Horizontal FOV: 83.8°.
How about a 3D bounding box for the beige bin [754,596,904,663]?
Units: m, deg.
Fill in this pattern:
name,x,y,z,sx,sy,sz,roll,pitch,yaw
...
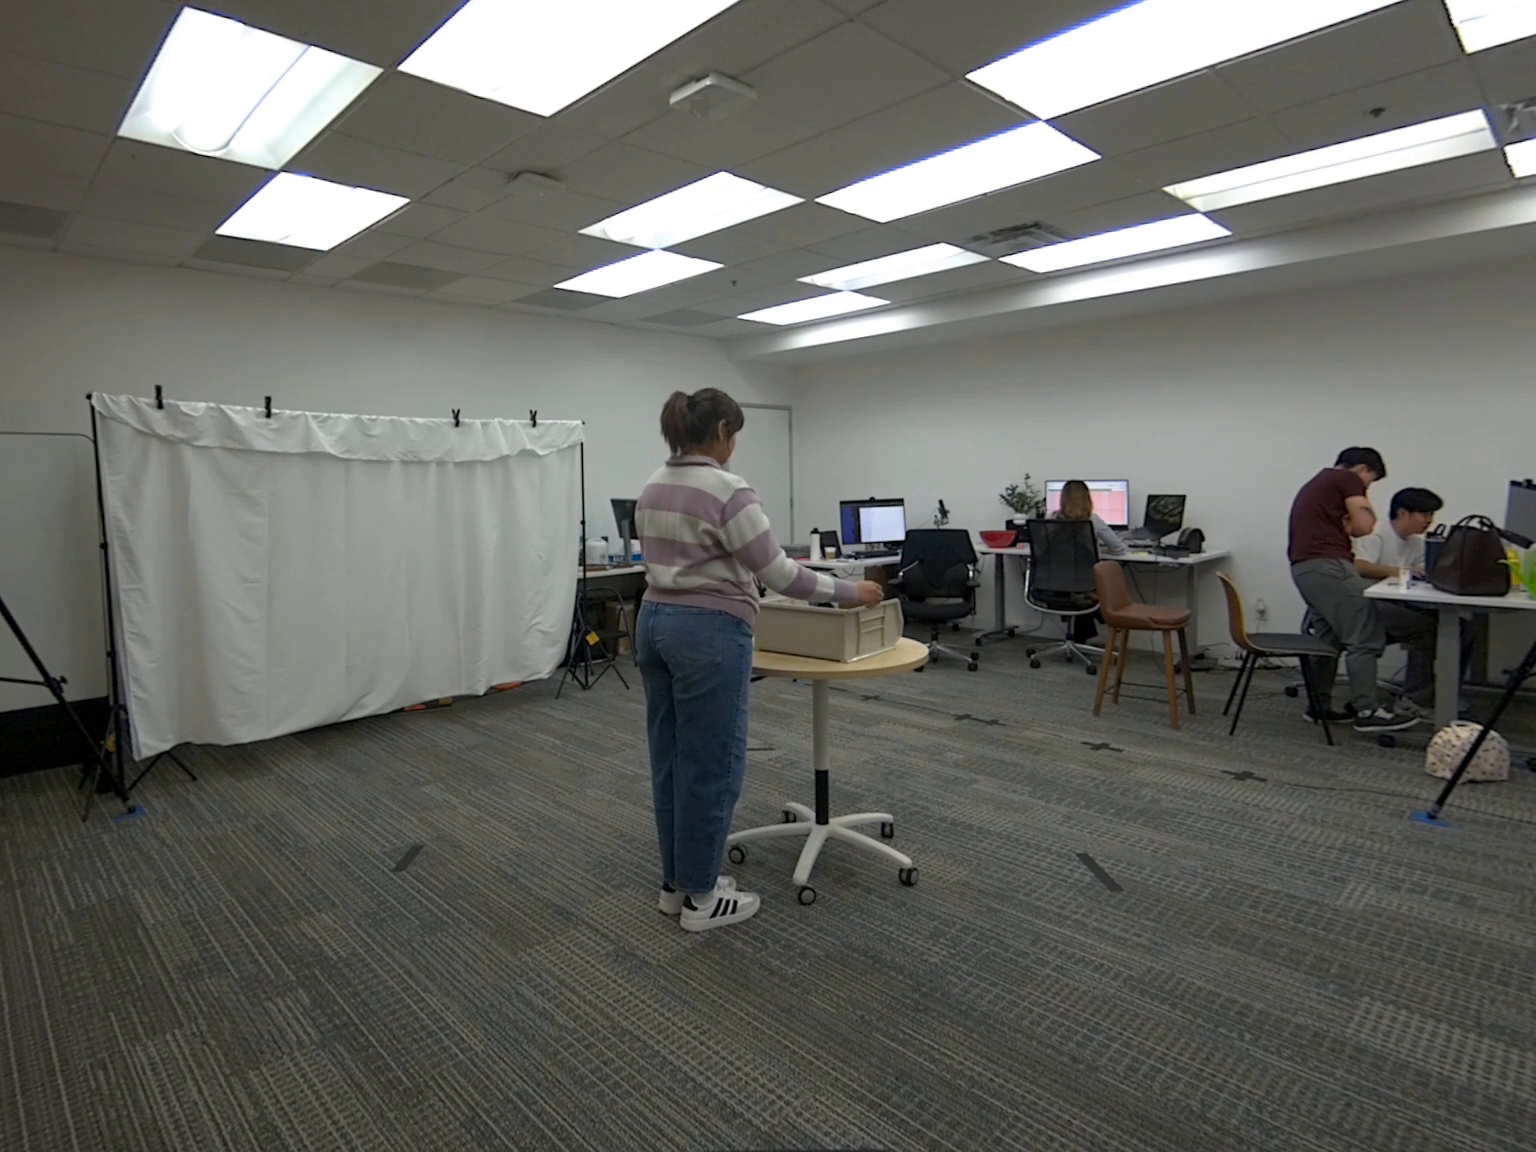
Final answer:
name,x,y,z,sx,sy,sz,roll,pitch,yaw
beige bin,0.207,0.172,3.067,0.435,0.188,0.368,4,9,39
